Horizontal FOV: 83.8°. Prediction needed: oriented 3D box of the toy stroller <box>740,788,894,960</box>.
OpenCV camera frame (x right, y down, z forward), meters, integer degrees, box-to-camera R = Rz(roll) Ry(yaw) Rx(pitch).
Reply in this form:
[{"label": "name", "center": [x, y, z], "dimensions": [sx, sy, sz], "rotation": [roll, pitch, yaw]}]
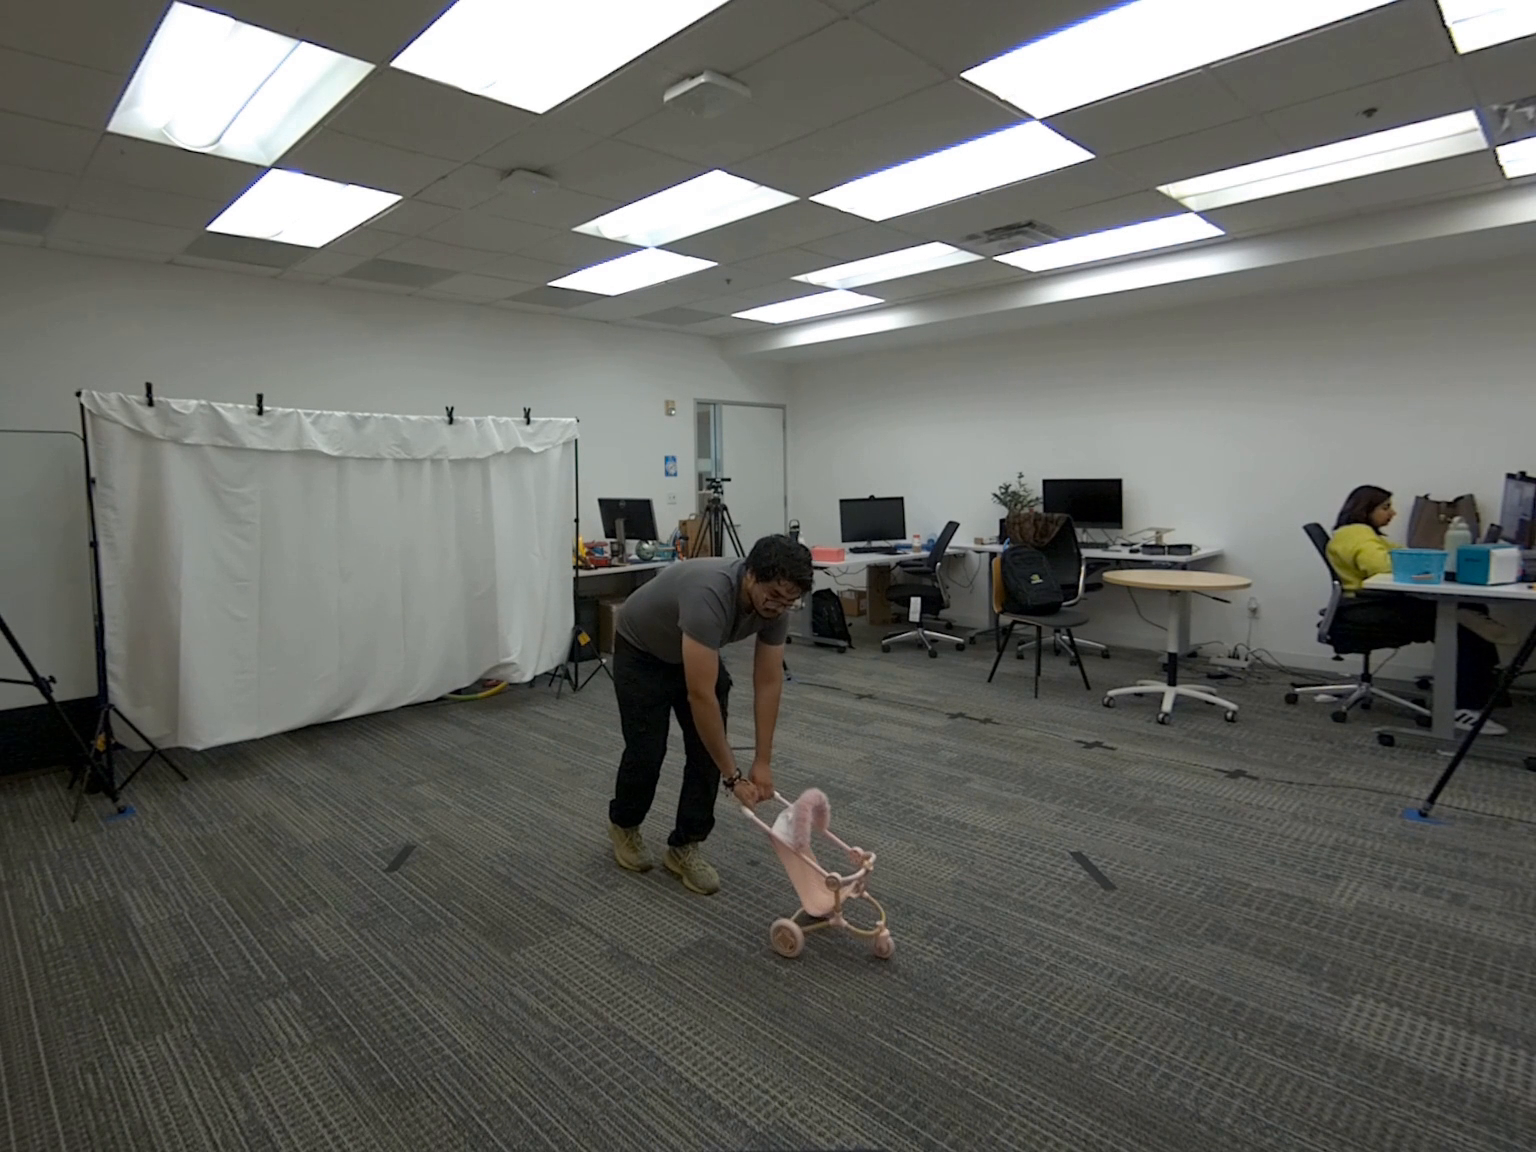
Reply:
[{"label": "toy stroller", "center": [0.158, 0.878, 2.566], "dimensions": [0.347, 0.539, 0.275], "rotation": [-20, -6, 32]}]
